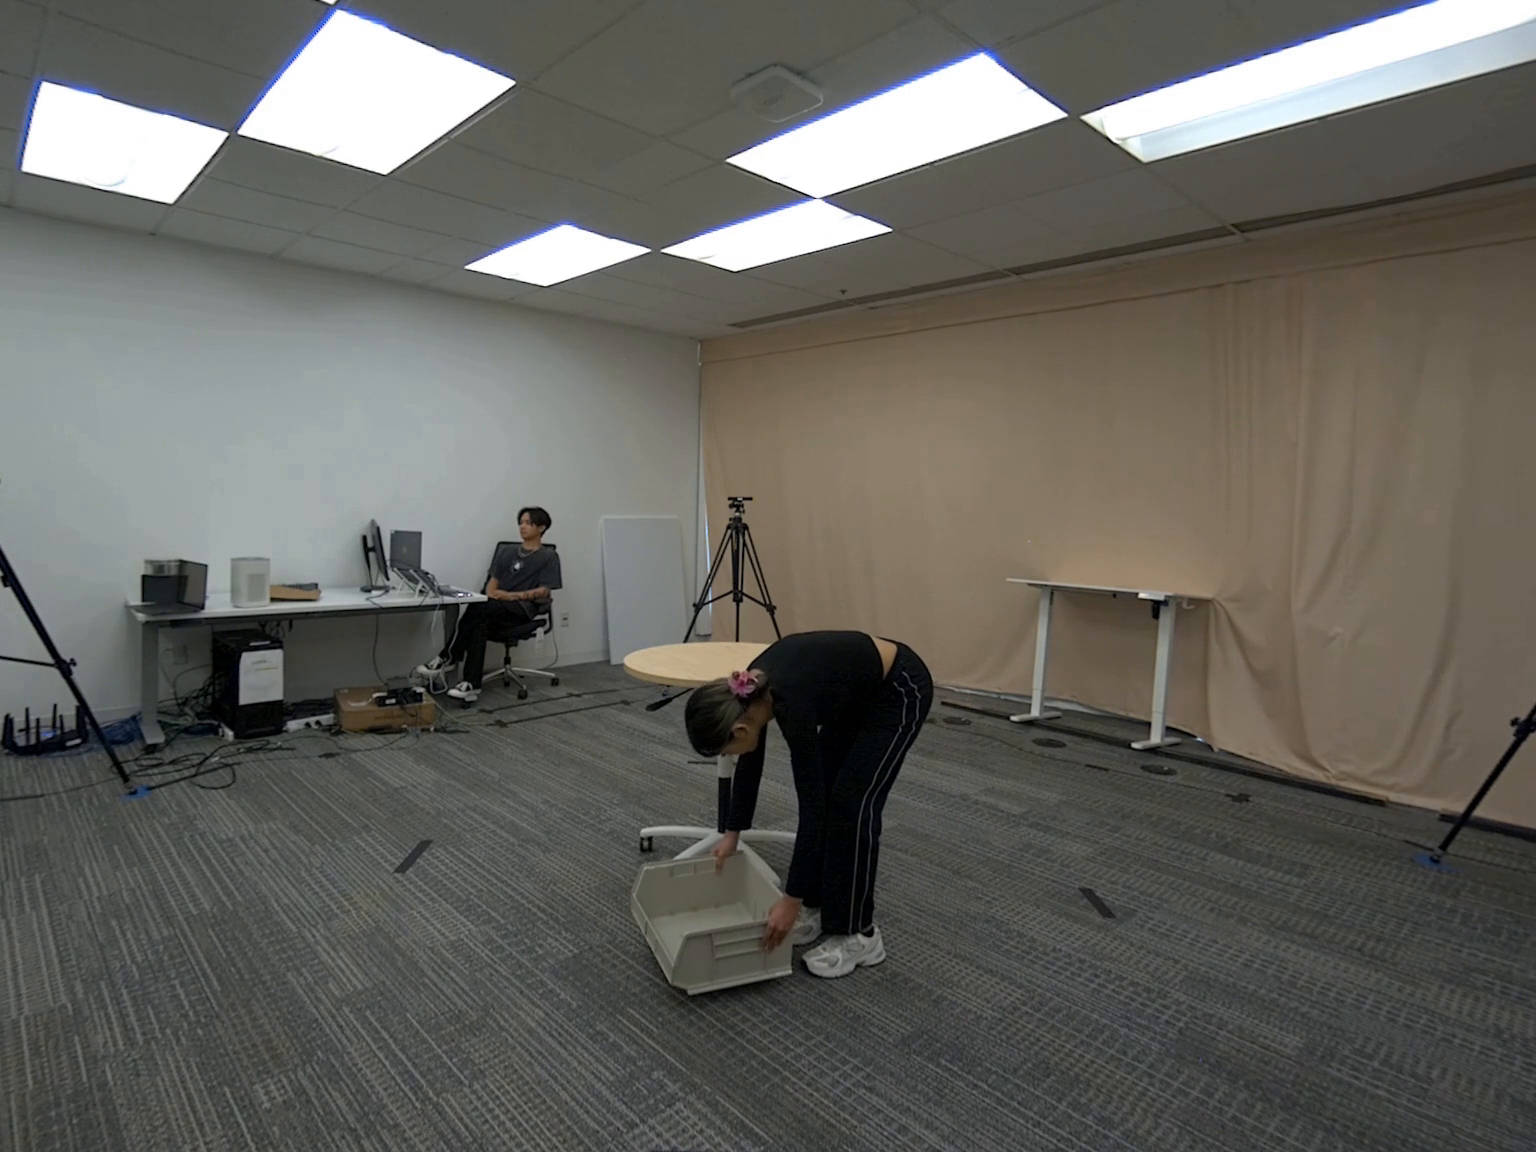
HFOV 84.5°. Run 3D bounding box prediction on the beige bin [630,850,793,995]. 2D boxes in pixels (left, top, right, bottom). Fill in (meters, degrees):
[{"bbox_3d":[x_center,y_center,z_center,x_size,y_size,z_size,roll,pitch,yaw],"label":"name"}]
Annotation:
[{"bbox_3d":[-0.173,1.015,2.498,0.371,0.188,0.431,0,6,-23],"label":"beige bin"}]
